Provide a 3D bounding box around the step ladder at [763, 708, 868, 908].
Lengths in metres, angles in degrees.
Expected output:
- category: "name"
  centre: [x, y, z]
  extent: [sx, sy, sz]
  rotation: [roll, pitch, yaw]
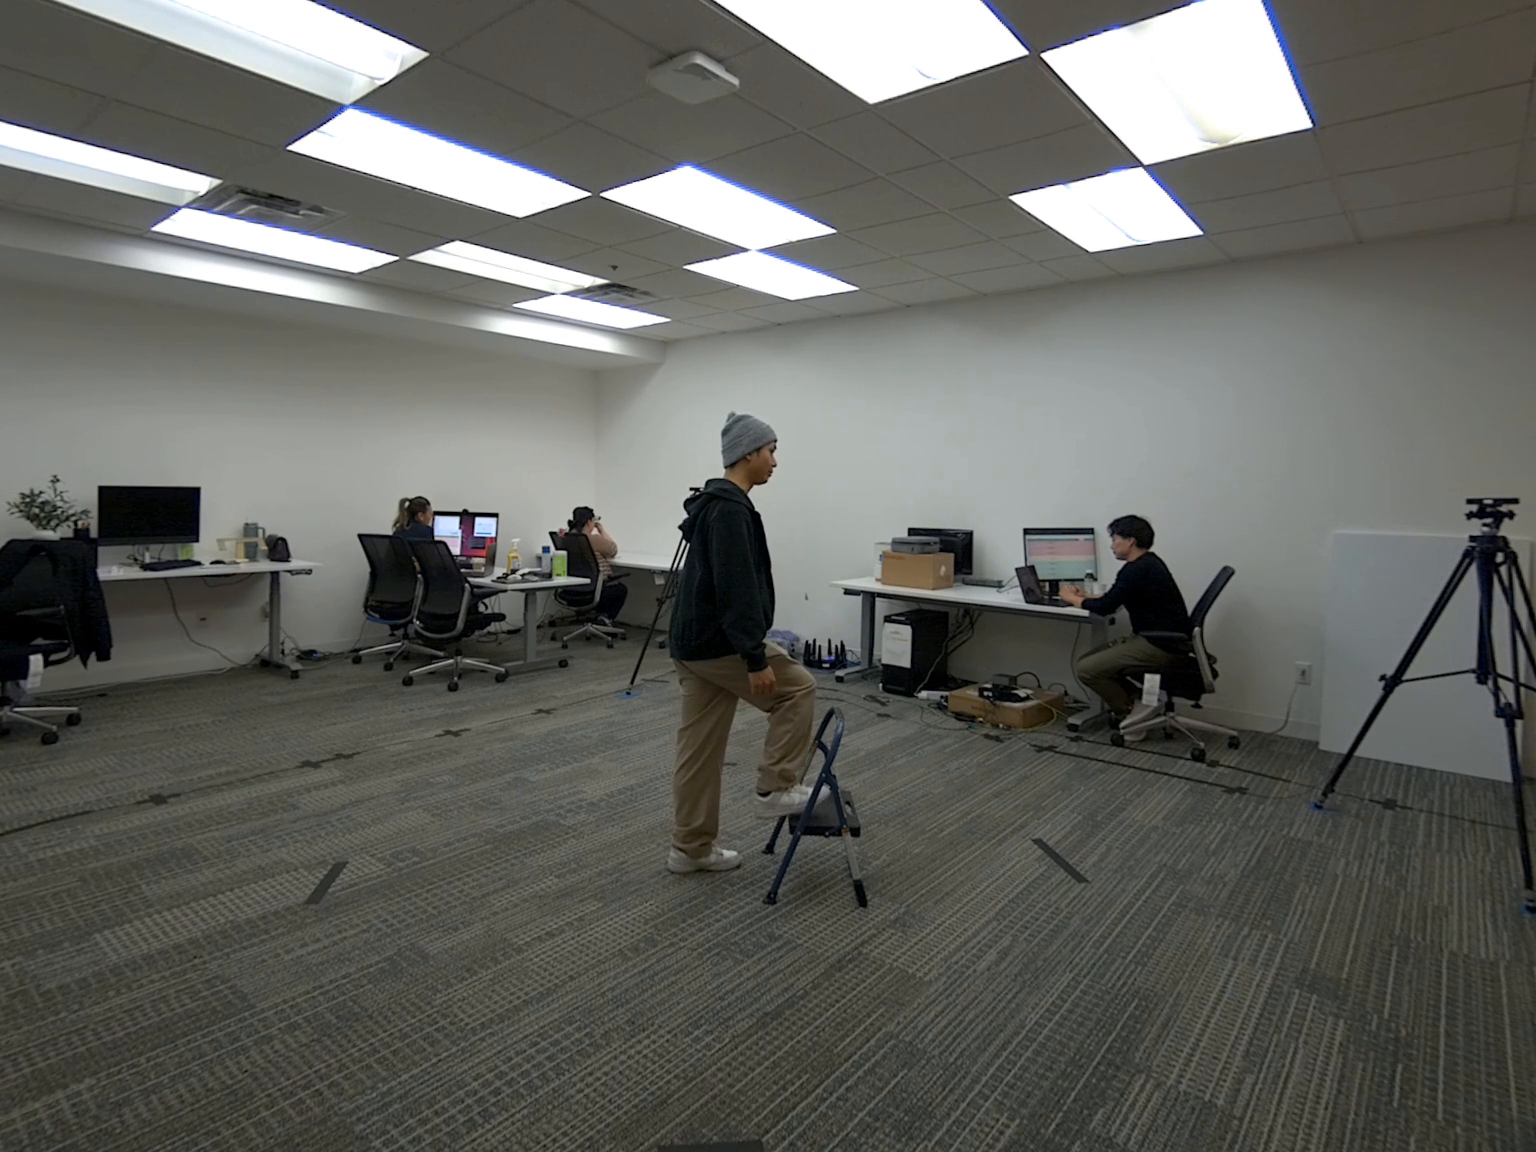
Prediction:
- category: "step ladder"
  centre: [0.162, 0.784, 3.036]
  extent: [0.350, 0.604, 0.432]
  rotation: [1, 4, 0]
